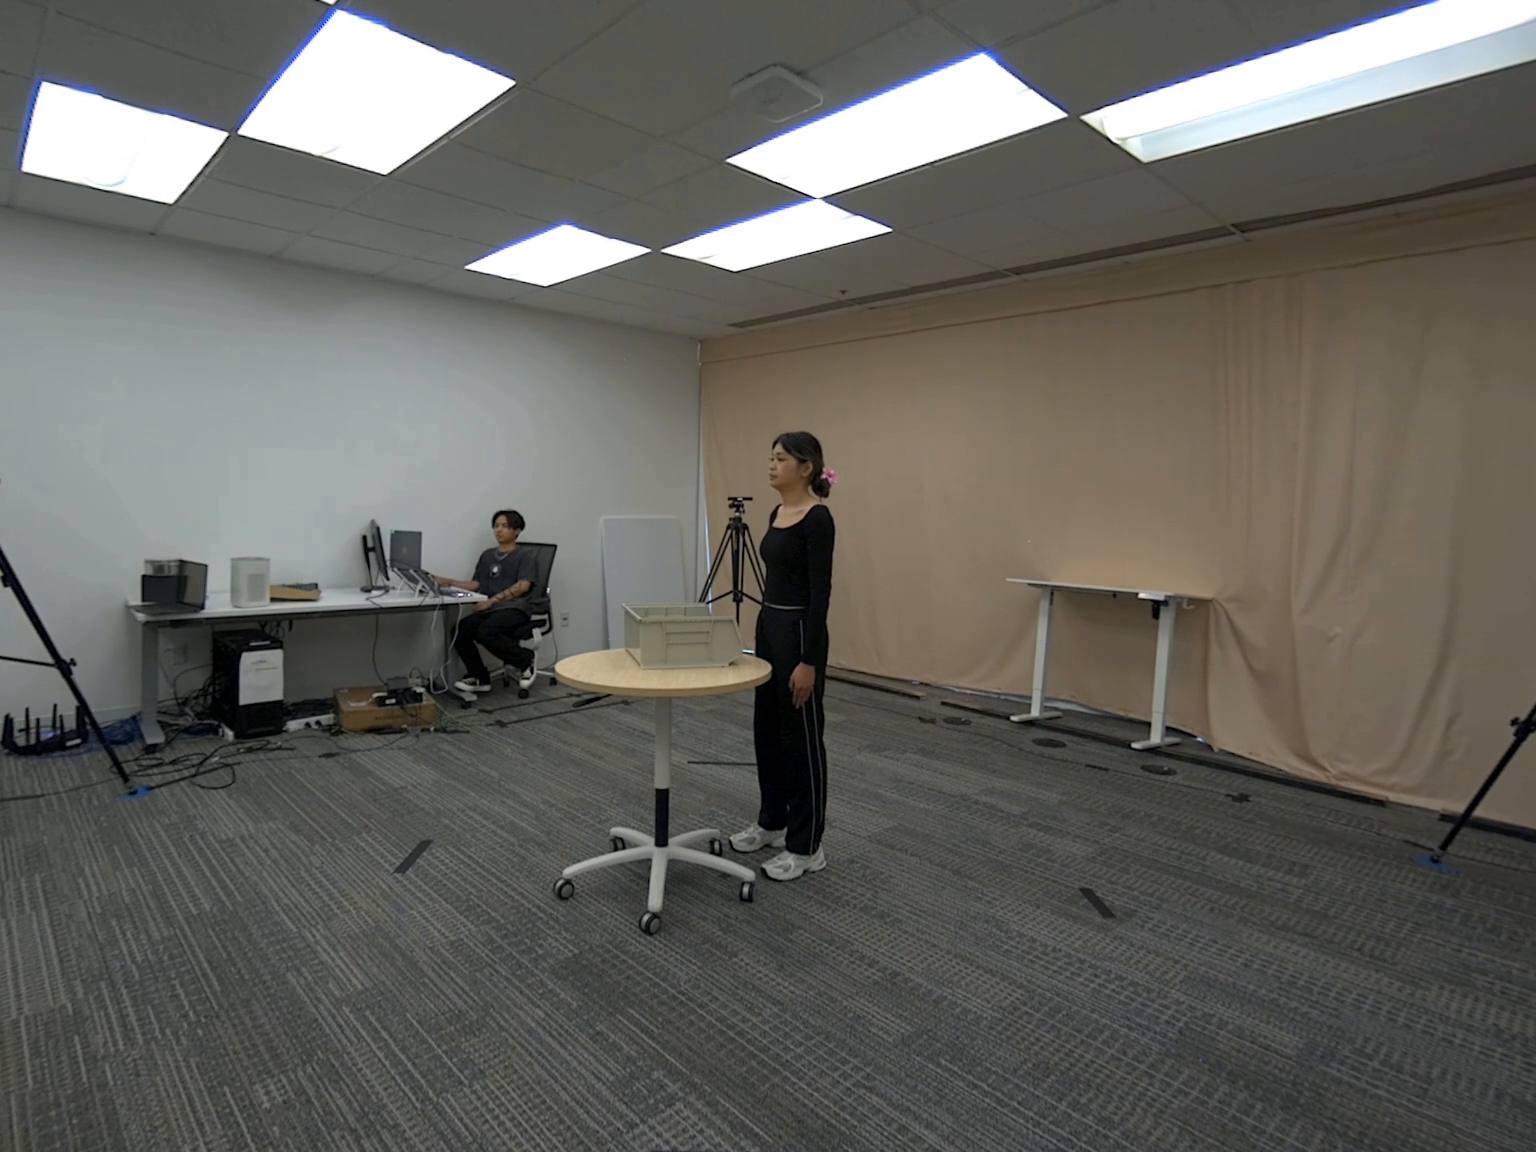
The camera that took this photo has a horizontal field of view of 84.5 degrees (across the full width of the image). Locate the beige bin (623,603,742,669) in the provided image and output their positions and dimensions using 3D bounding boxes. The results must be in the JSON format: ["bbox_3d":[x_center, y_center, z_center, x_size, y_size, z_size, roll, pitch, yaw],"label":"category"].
[{"bbox_3d":[-0.333,0.215,3.149,0.372,0.188,0.429,-1,5,-17],"label":"beige bin"}]
